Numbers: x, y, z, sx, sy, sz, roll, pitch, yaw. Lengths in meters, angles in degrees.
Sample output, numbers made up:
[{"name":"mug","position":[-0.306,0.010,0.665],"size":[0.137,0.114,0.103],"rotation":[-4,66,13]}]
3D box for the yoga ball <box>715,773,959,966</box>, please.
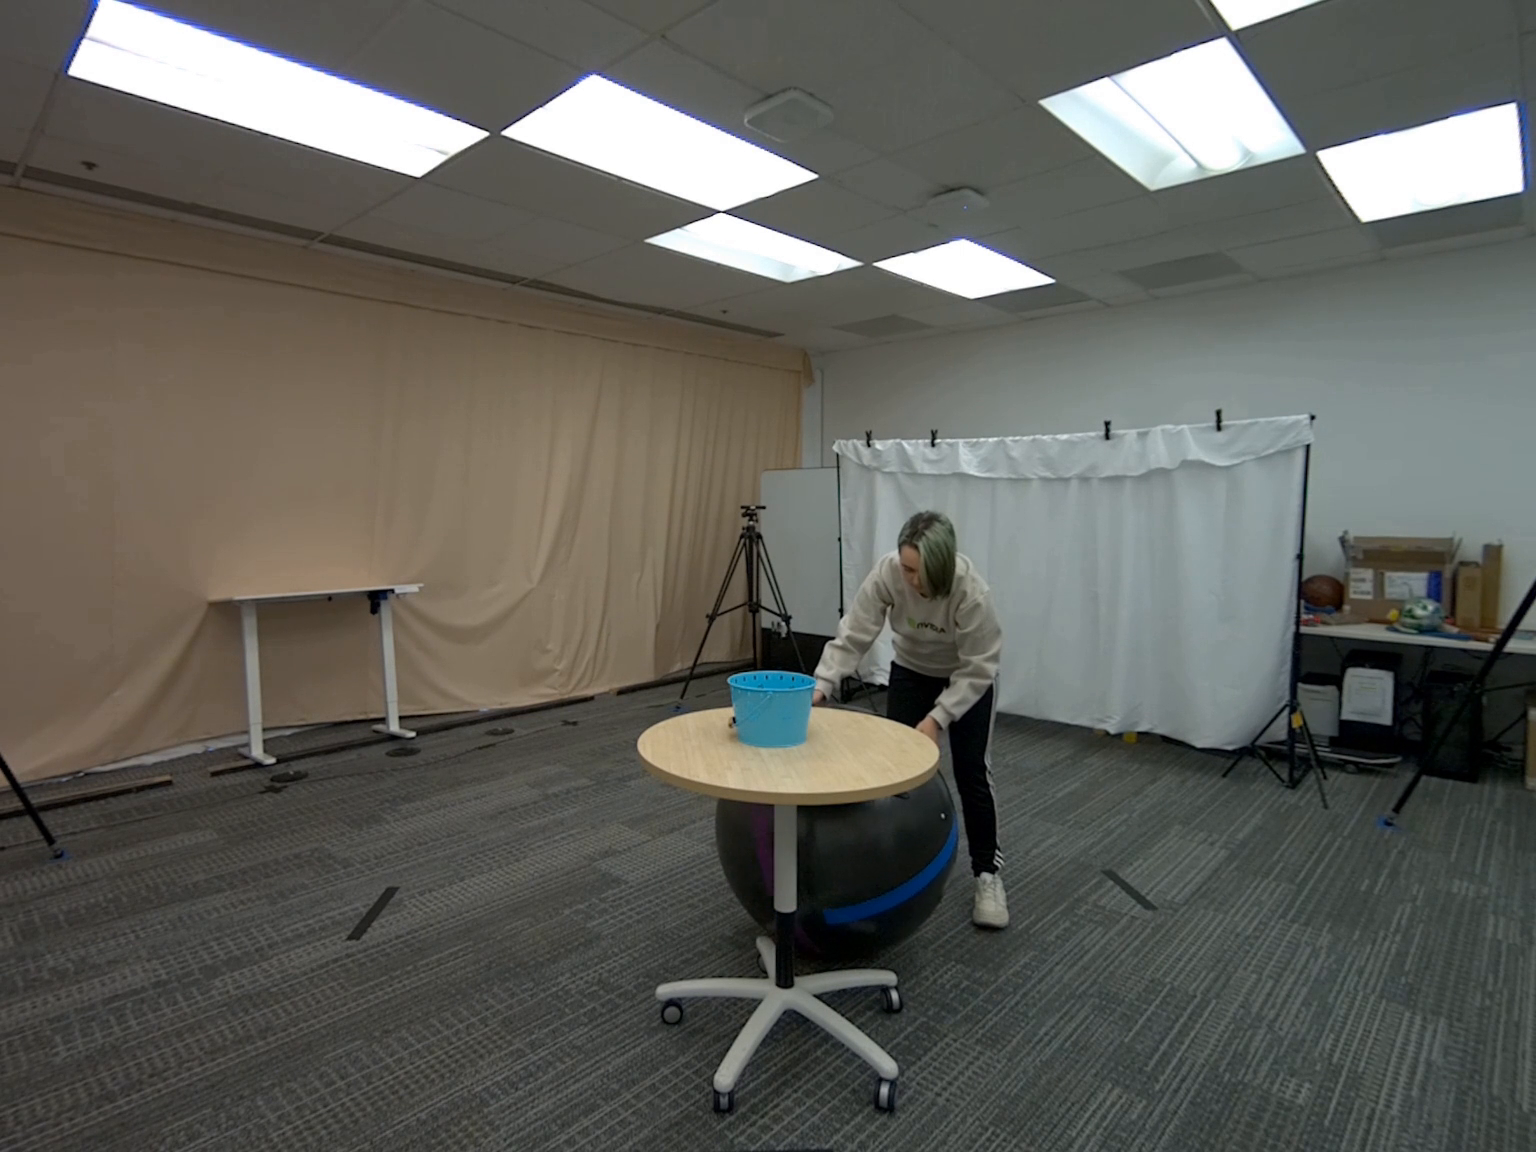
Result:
[{"name":"yoga ball","position":[0.214,0.803,2.678],"size":[0.757,0.756,0.761],"rotation":[0,4,-2]}]
